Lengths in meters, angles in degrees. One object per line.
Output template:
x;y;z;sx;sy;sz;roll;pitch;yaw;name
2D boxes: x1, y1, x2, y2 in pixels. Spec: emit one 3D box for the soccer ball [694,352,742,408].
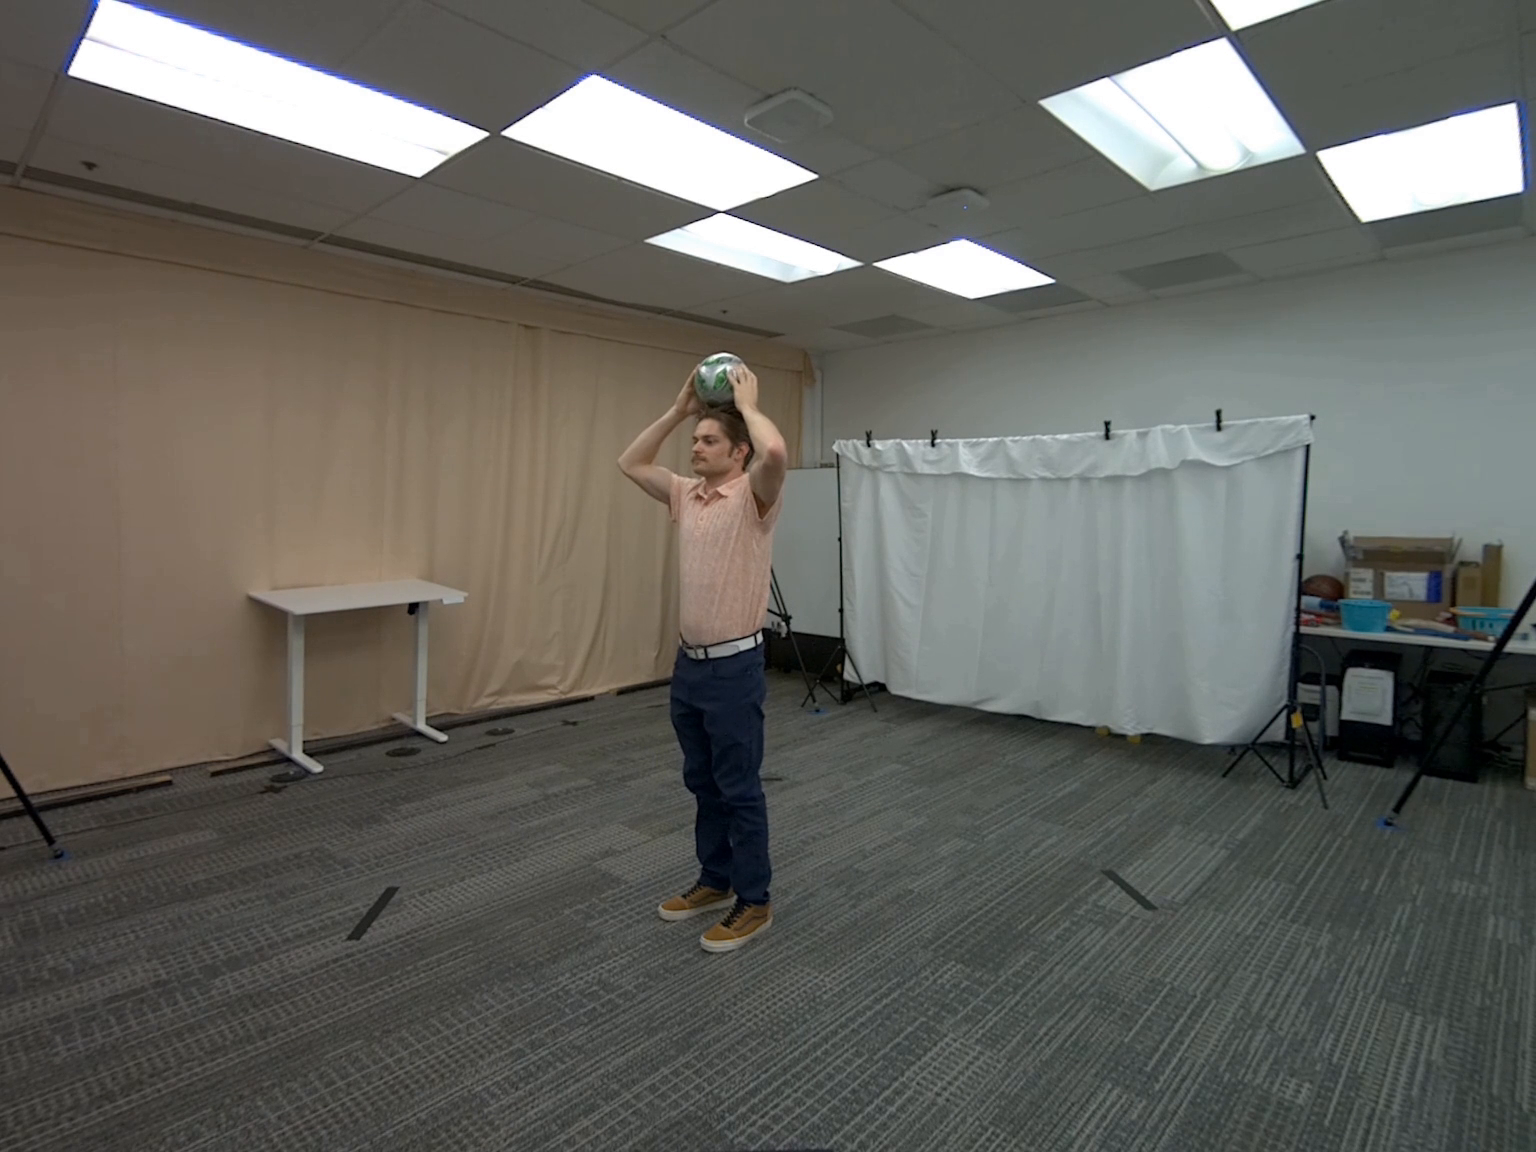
-0.145;-0.632;2.761;0.187;0.187;0.188;0;4;-2;soccer ball
